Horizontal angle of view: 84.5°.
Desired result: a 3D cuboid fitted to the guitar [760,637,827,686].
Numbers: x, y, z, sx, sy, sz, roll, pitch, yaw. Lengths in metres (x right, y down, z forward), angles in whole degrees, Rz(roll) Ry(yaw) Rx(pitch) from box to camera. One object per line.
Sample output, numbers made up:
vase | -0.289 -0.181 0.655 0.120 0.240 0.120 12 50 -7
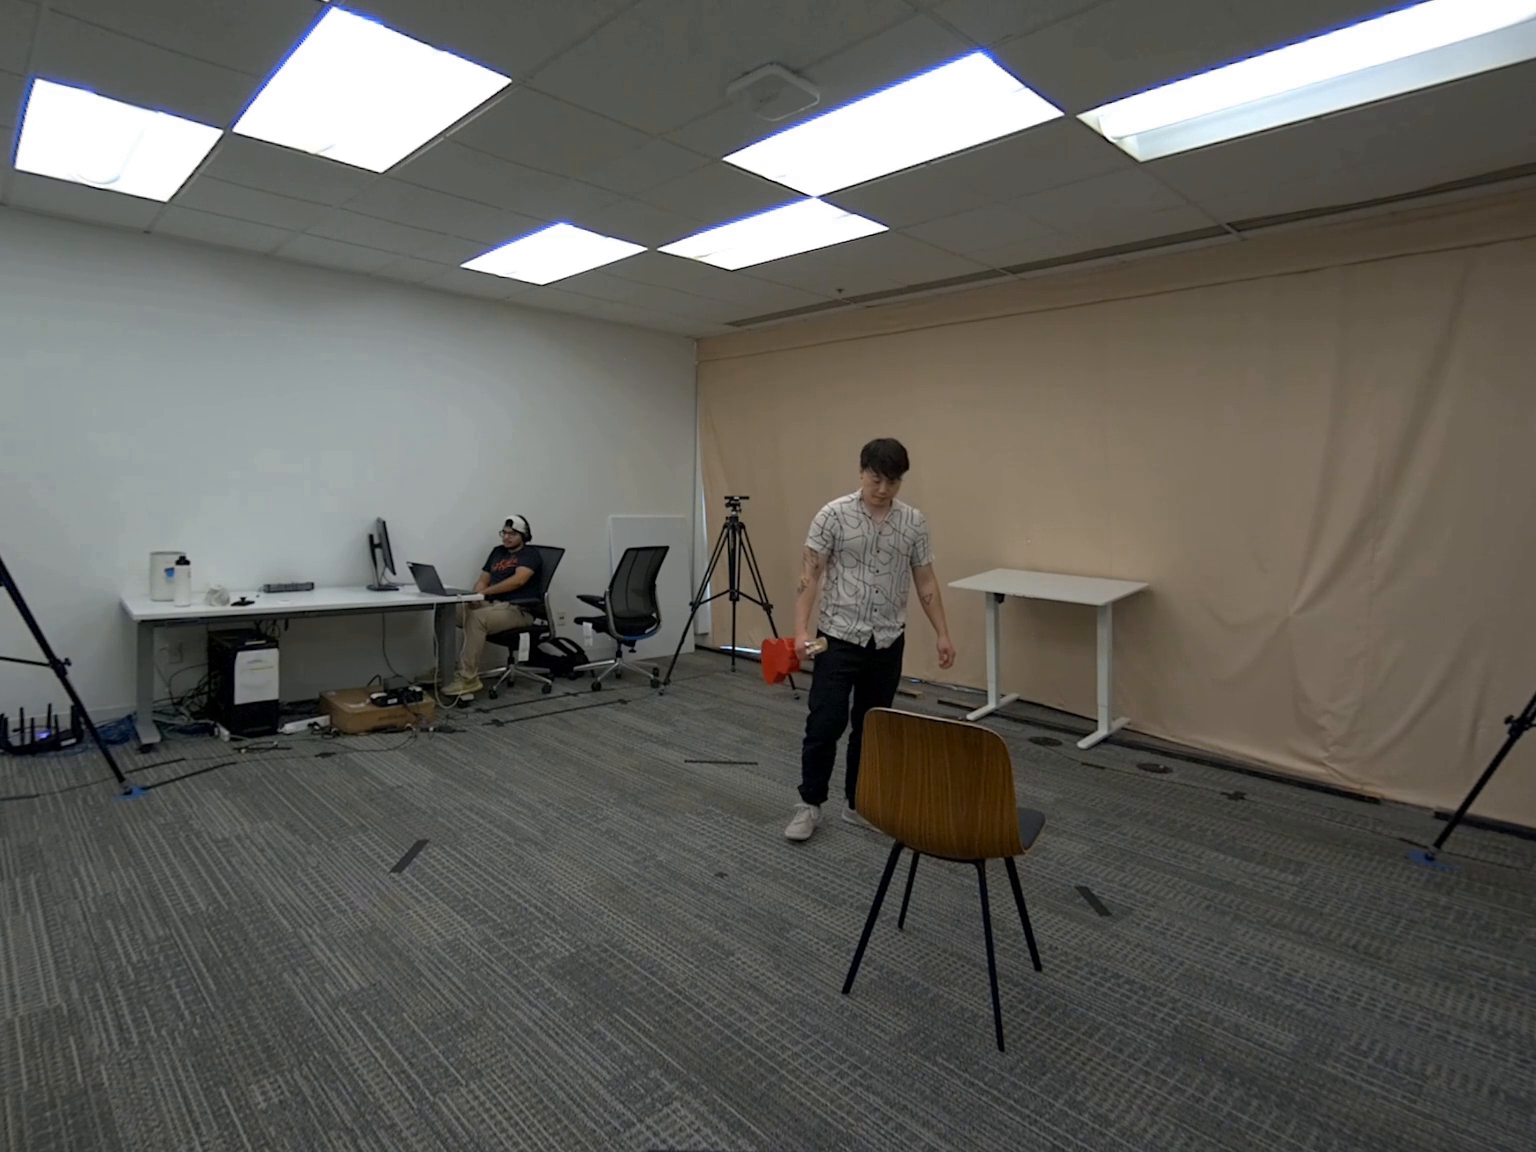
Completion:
guitar | 0.089 0.297 3.479 0.069 0.196 0.497 5 -25 -22
